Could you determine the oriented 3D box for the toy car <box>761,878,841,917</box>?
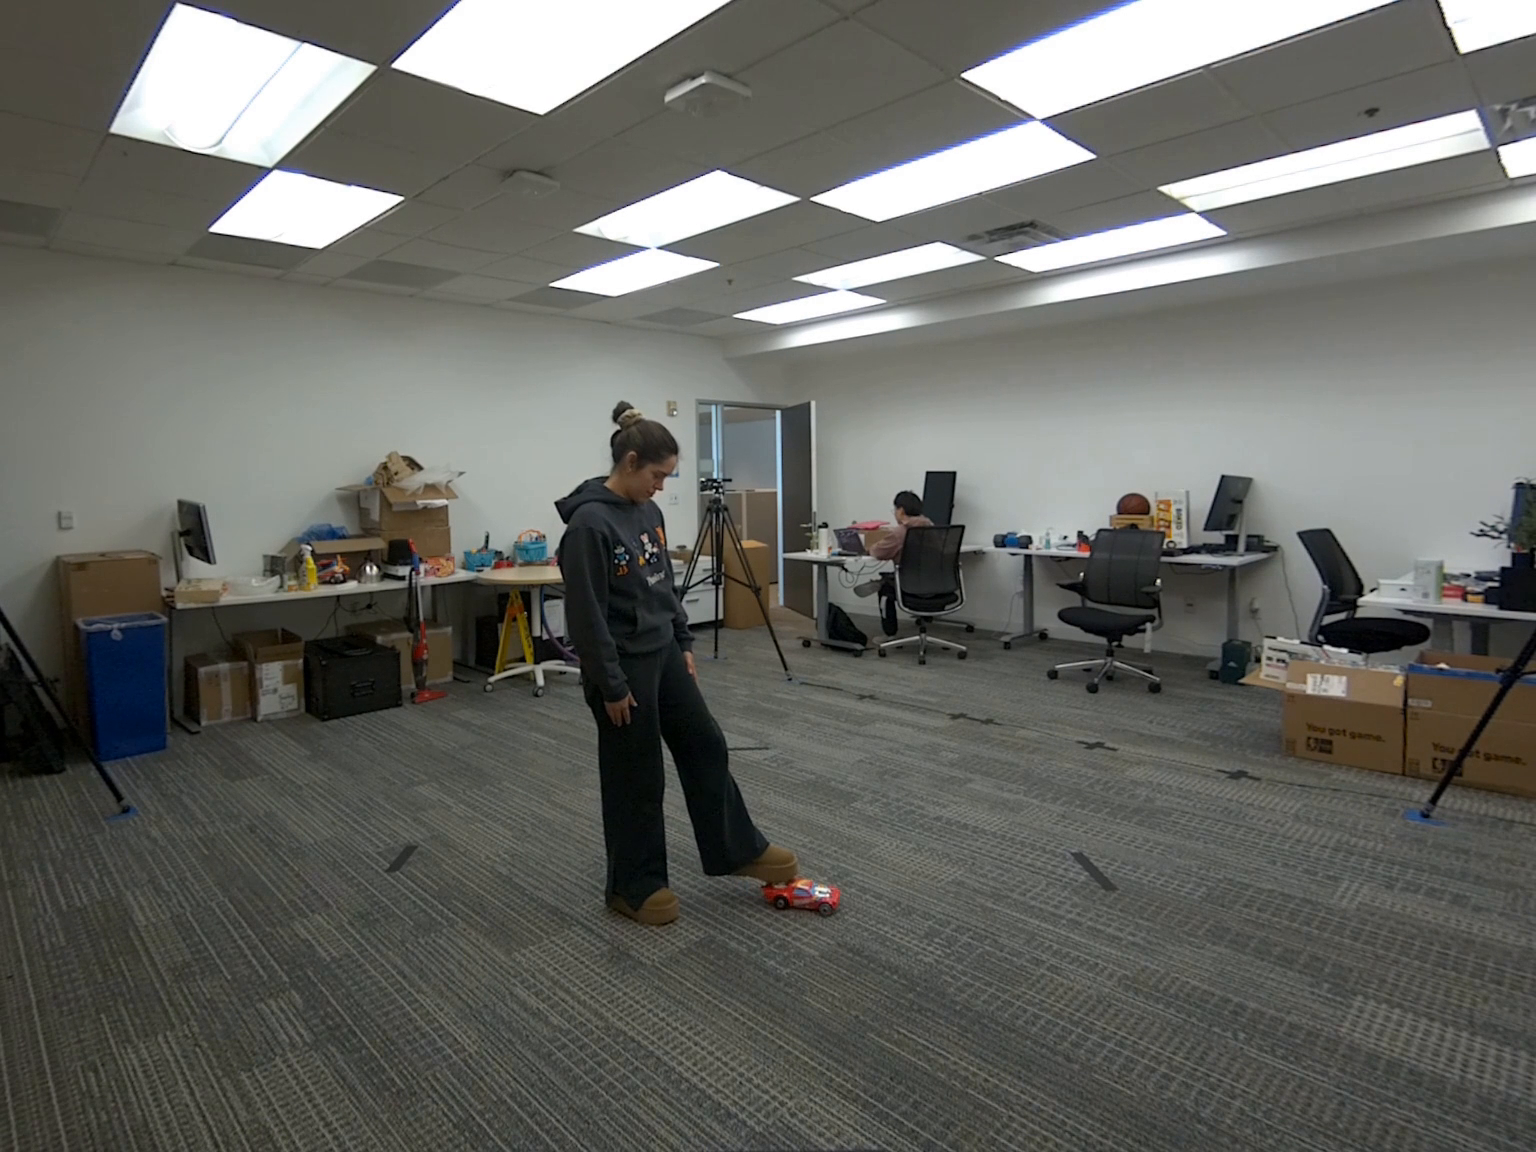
[{"bbox_3d":[0.107,1.043,2.780,0.259,0.083,0.129,10,8,15],"label":"toy car"}]
